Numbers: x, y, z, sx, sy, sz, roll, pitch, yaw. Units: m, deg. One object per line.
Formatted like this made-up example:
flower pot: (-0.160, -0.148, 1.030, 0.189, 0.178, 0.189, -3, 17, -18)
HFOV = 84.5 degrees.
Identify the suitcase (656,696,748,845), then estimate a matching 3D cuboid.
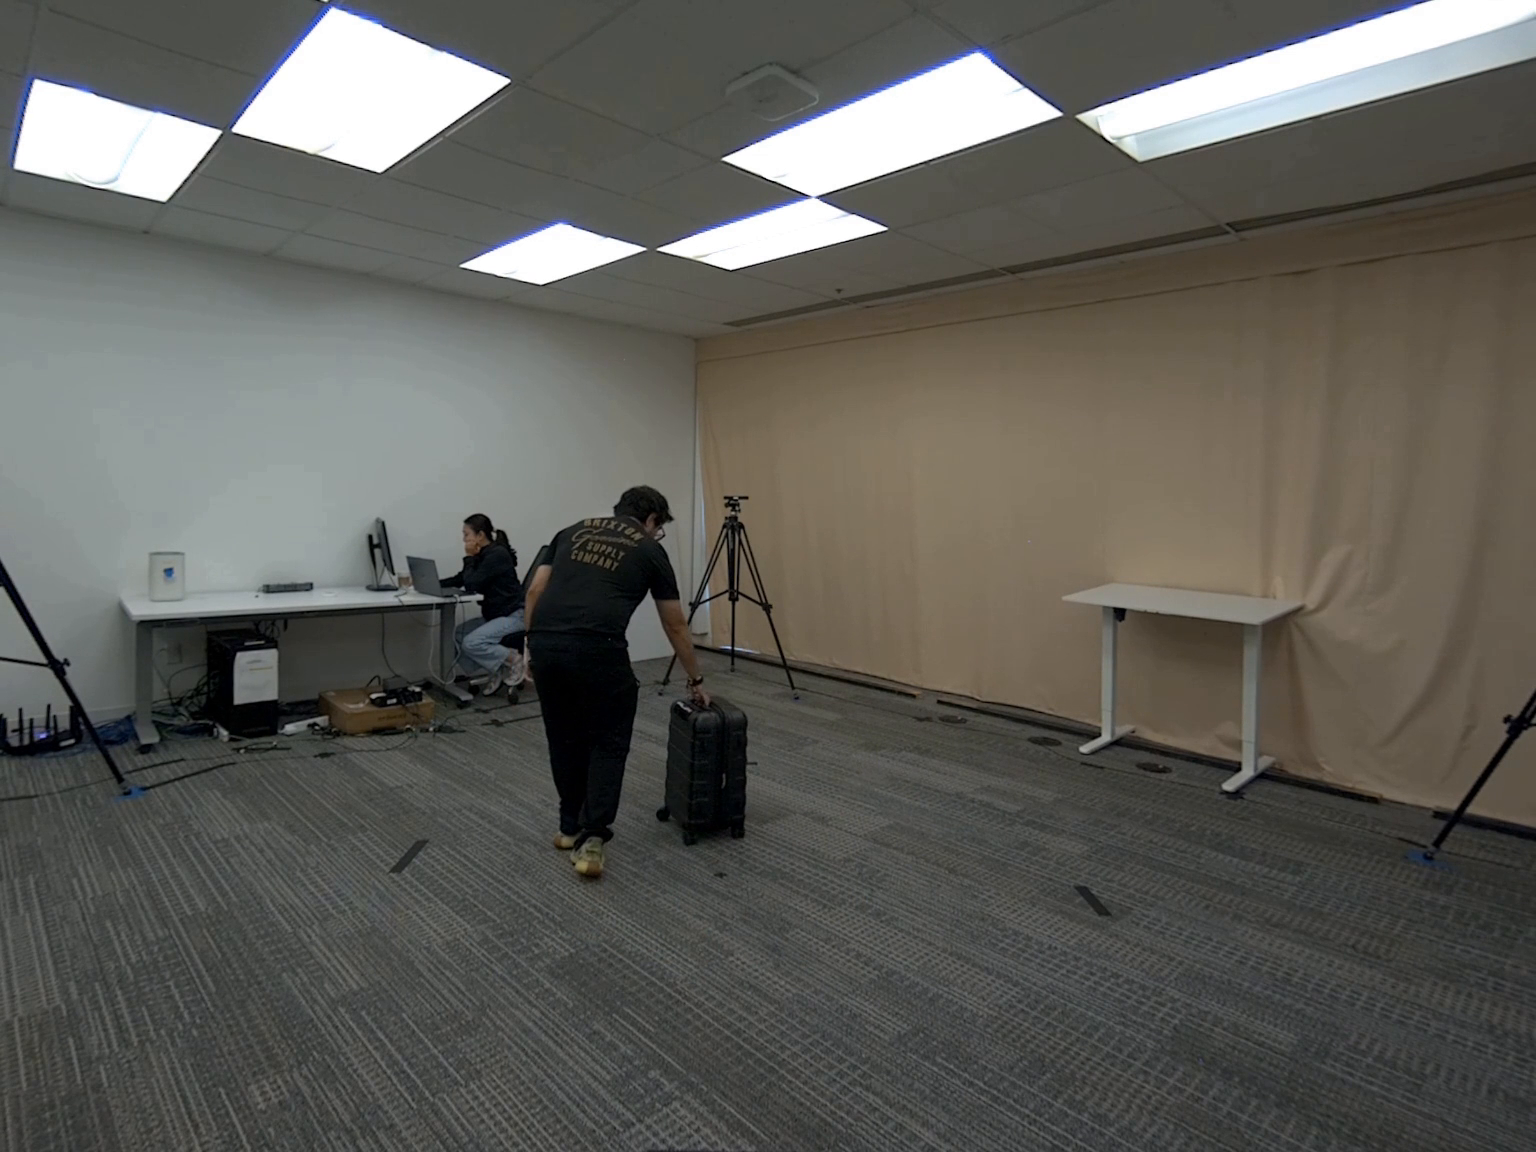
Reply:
suitcase: (-0.266, 0.793, 3.520, 0.244, 0.548, 0.383, 3, 5, -26)
